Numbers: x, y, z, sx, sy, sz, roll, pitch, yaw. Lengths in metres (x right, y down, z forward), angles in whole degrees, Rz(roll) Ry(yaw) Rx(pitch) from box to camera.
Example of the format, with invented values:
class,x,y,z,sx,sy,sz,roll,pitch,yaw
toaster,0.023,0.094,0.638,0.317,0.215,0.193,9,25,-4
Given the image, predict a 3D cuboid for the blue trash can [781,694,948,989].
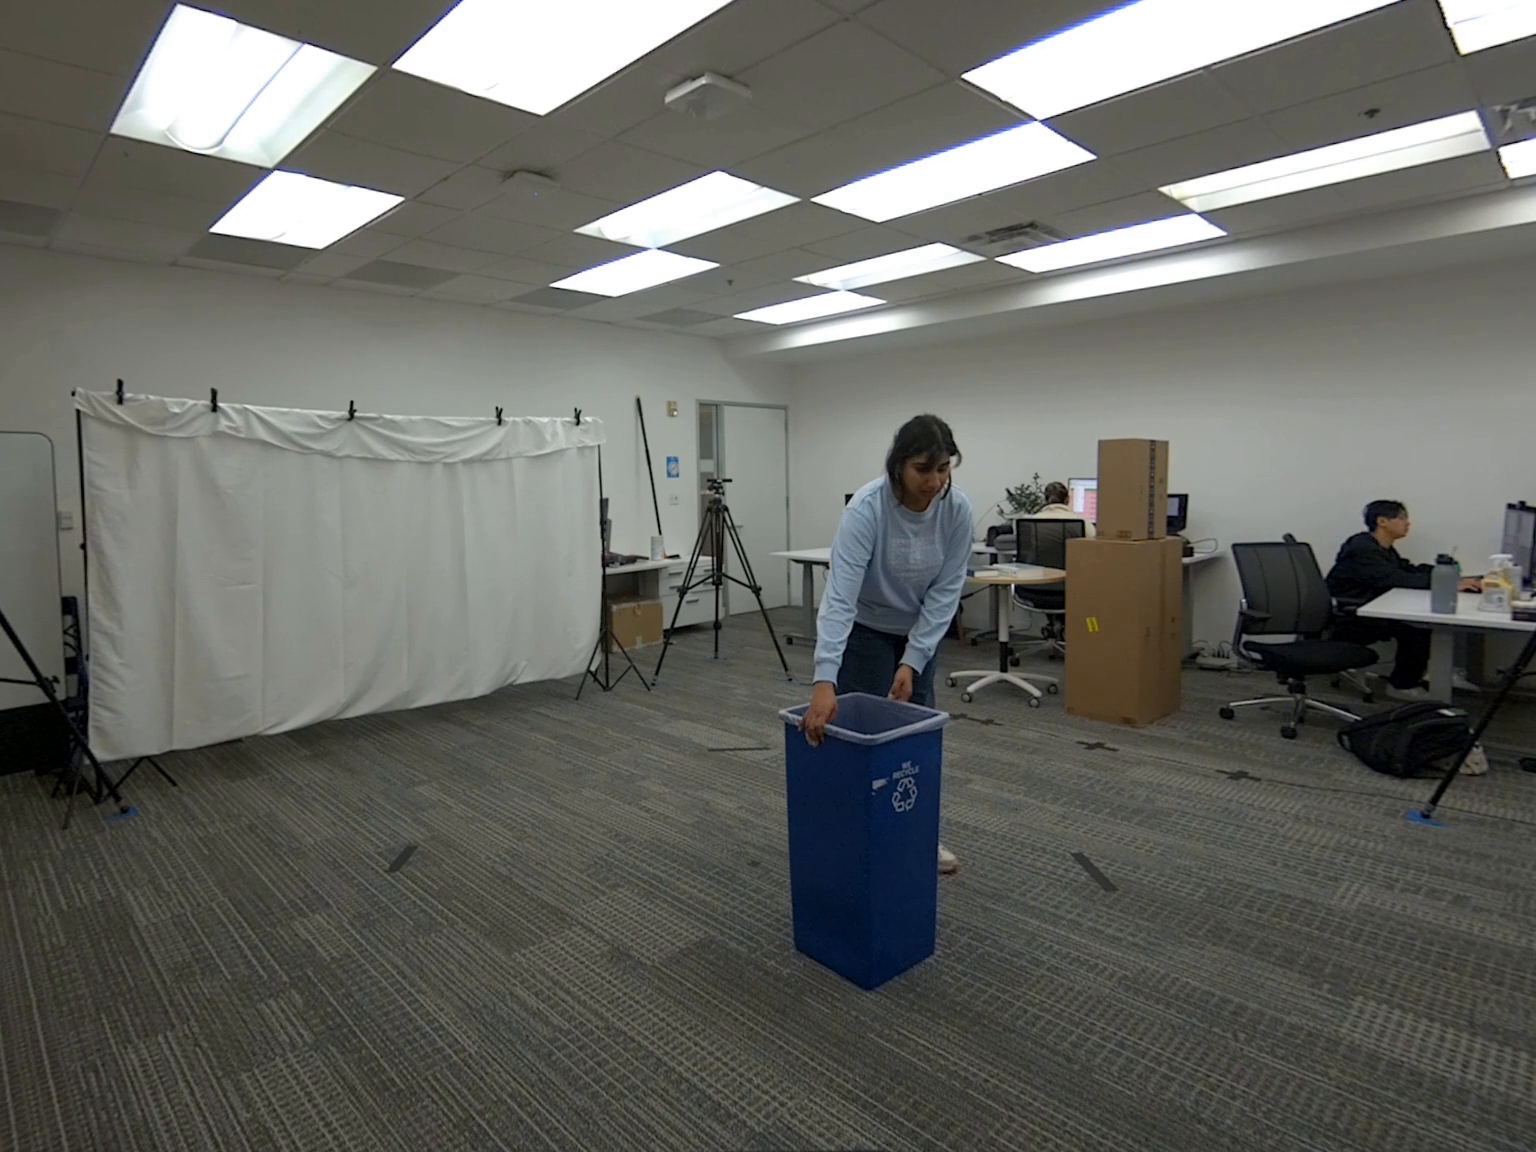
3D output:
class,x,y,z,sx,sy,sz,roll,pitch,yaw
blue trash can,0.289,0.751,2.513,0.364,0.711,0.390,-4,6,-42
